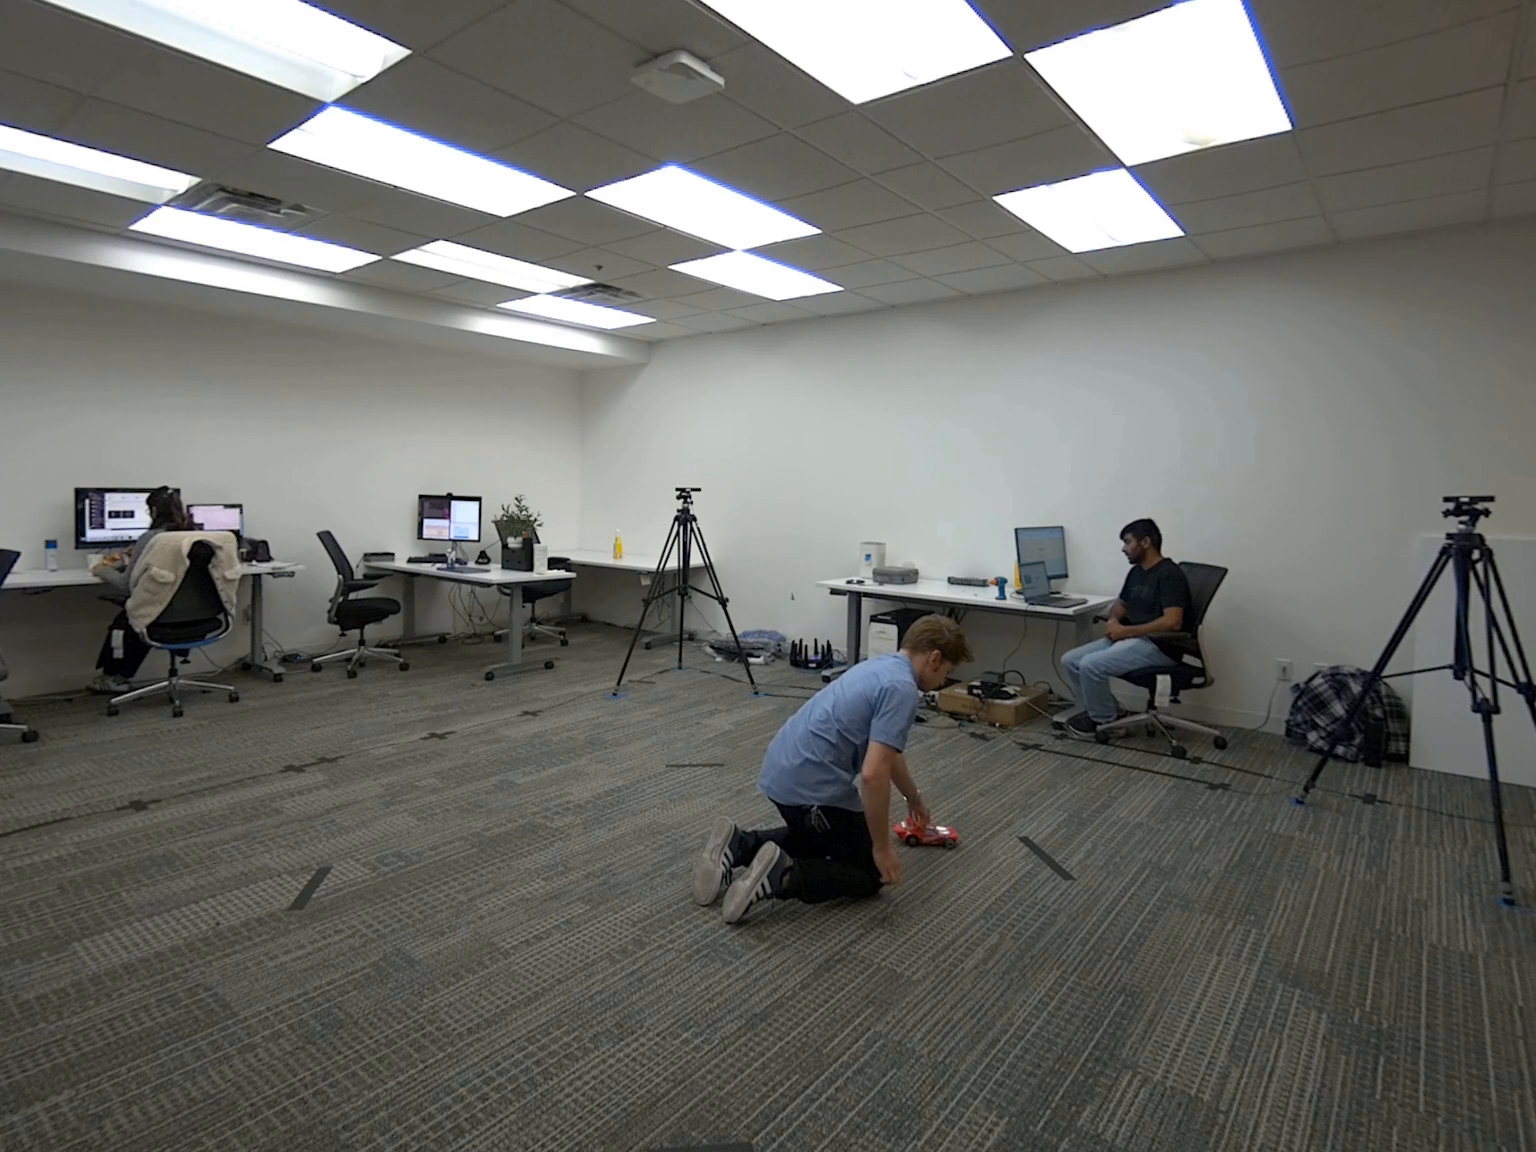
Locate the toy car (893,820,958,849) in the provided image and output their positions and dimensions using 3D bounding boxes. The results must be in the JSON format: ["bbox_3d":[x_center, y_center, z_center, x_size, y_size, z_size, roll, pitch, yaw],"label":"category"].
[{"bbox_3d":[0.629,1.031,3.385,0.255,0.083,0.130,13,5,2],"label":"toy car"}]
